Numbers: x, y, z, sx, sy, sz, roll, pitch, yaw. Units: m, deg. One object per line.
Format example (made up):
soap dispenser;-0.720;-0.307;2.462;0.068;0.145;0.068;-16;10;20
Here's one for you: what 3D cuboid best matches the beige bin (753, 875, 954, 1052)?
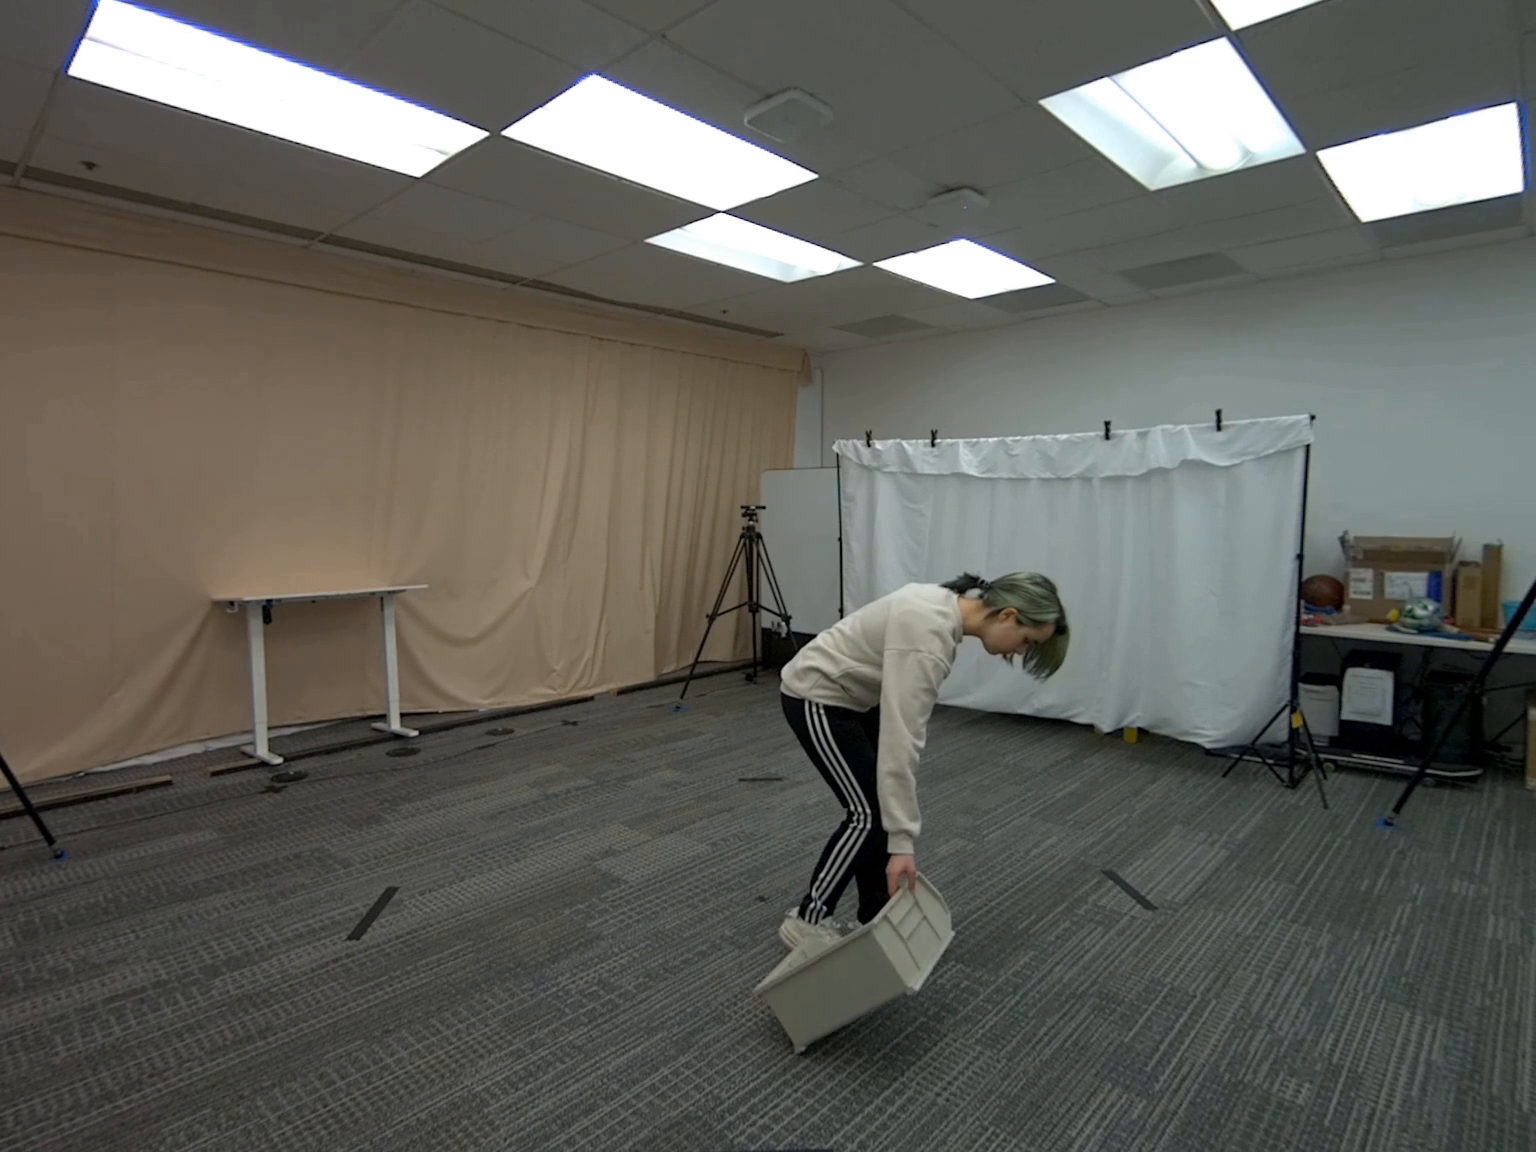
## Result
beige bin;0.242;1.003;2.221;0.426;0.192;0.368;-41;-13;25
